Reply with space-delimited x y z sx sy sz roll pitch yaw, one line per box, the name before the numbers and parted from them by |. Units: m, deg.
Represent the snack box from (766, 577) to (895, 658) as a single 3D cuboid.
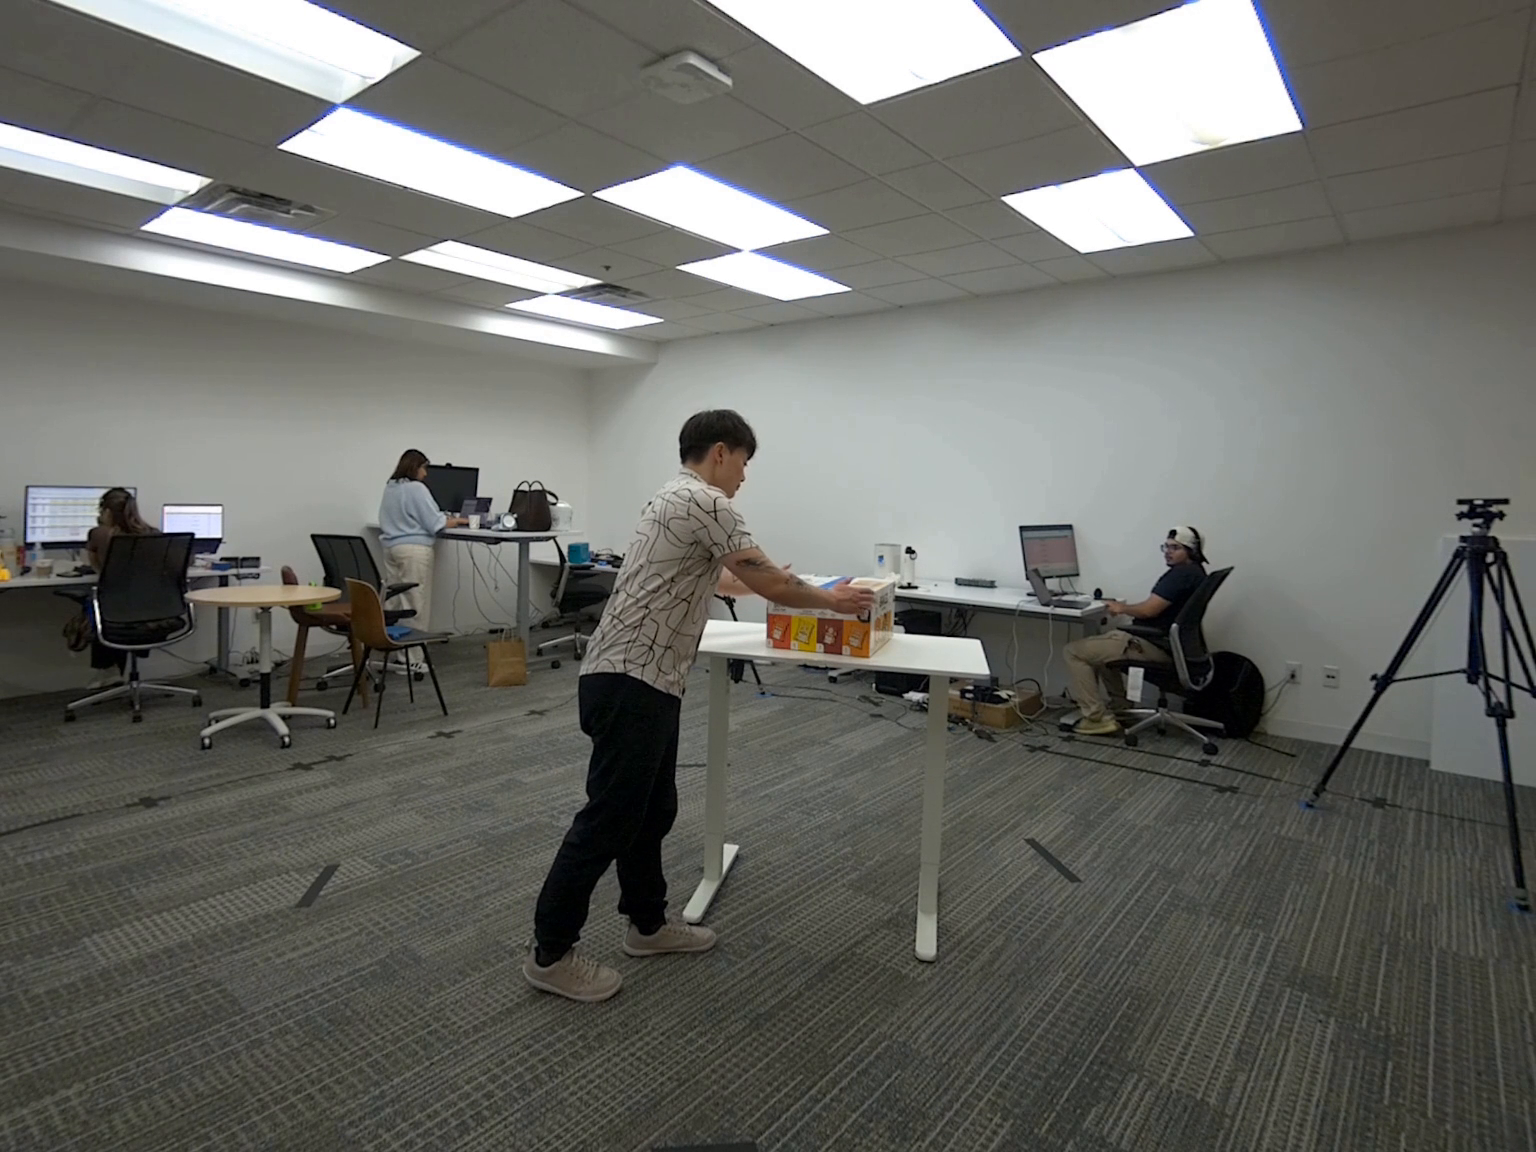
snack box | 0.209 0.121 2.846 0.348 0.205 0.398 4 6 20
